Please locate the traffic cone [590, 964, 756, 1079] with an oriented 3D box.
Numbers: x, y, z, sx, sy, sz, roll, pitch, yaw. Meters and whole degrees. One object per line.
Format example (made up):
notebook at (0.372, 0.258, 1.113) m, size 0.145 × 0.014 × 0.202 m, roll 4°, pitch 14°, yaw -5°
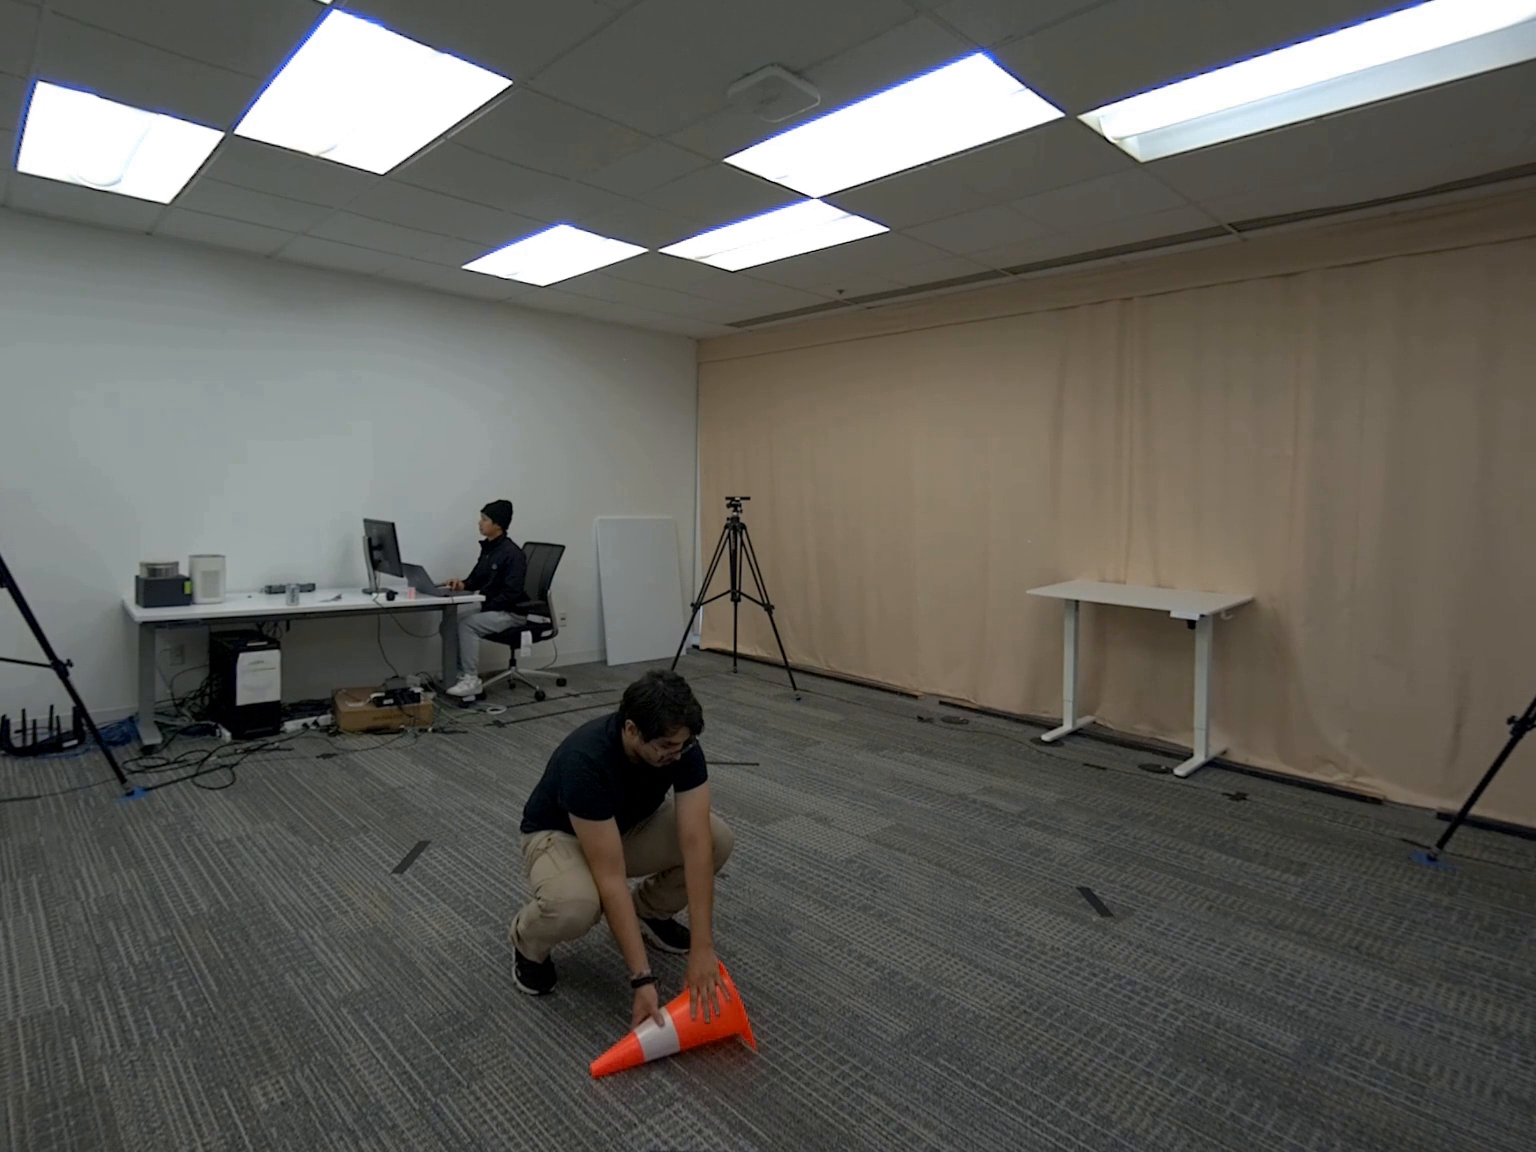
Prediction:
traffic cone at (-0.268, 1.147, 2.097) m, size 0.379 × 0.202 × 0.208 m, roll -18°, pitch 6°, yaw -24°
